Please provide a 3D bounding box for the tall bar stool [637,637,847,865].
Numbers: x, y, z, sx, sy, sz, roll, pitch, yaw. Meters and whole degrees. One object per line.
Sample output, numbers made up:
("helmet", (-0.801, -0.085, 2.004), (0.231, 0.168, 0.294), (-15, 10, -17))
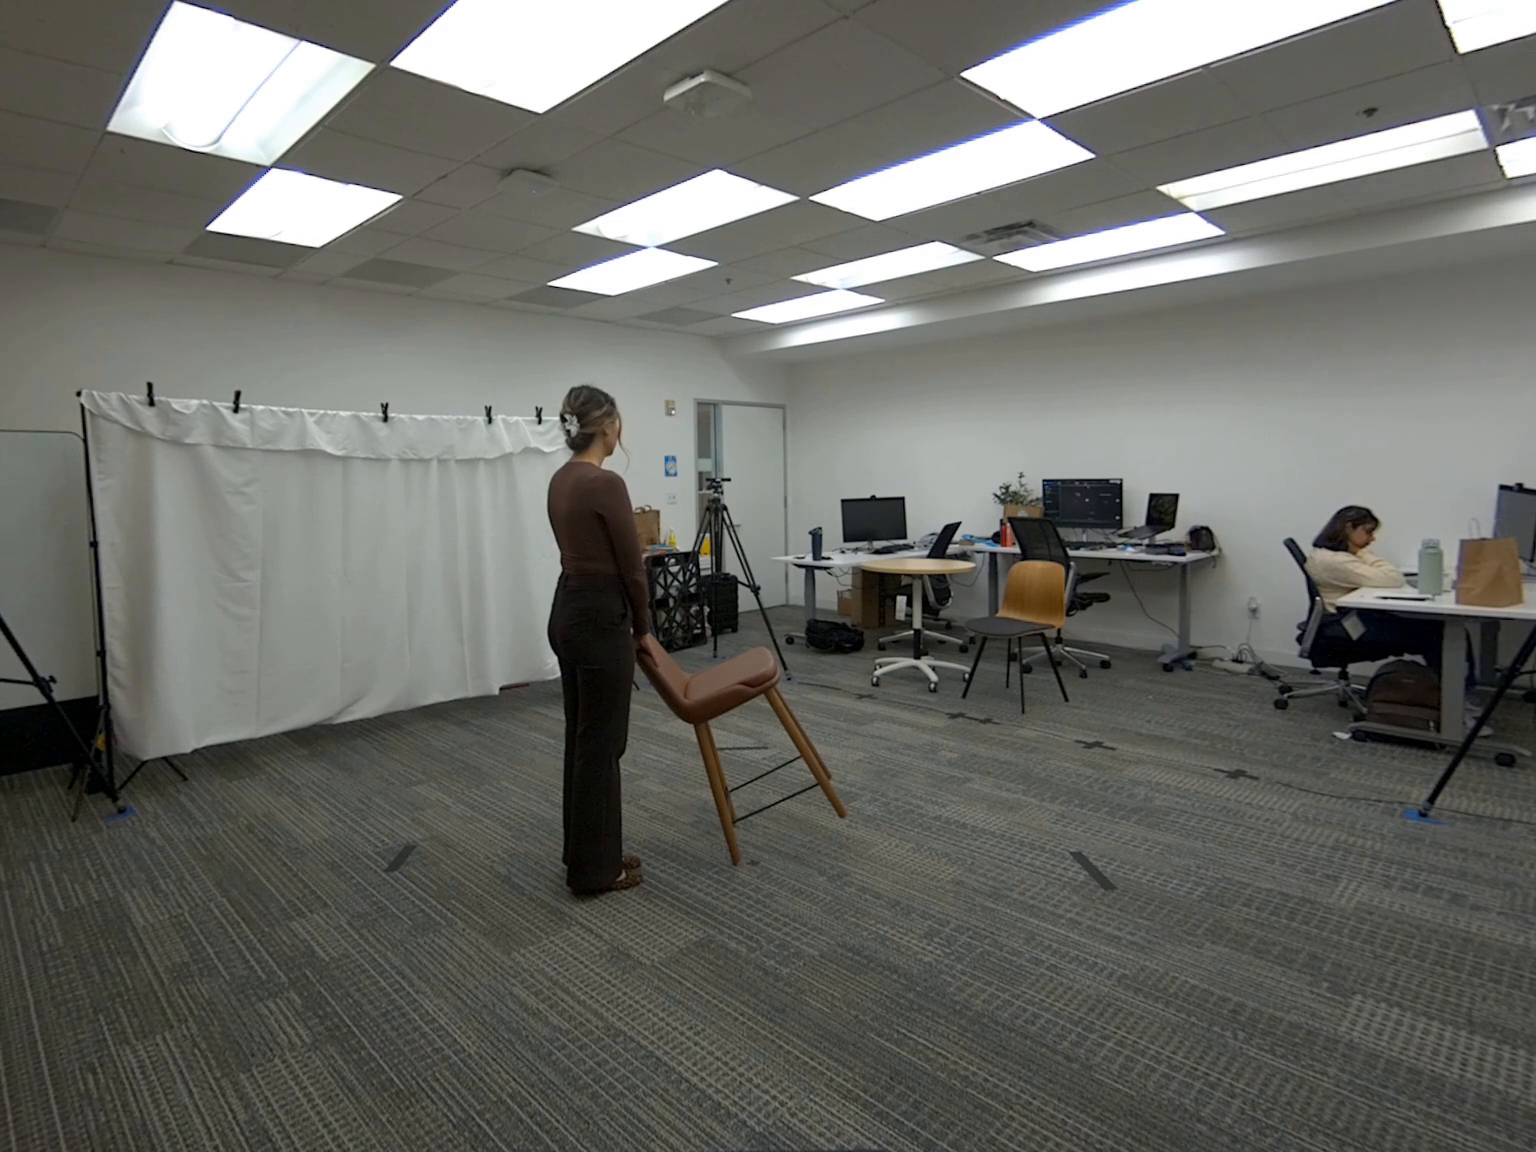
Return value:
("tall bar stool", (-0.122, 0.544, 3.245), (0.468, 0.885, 0.459), (-26, 4, 1))
